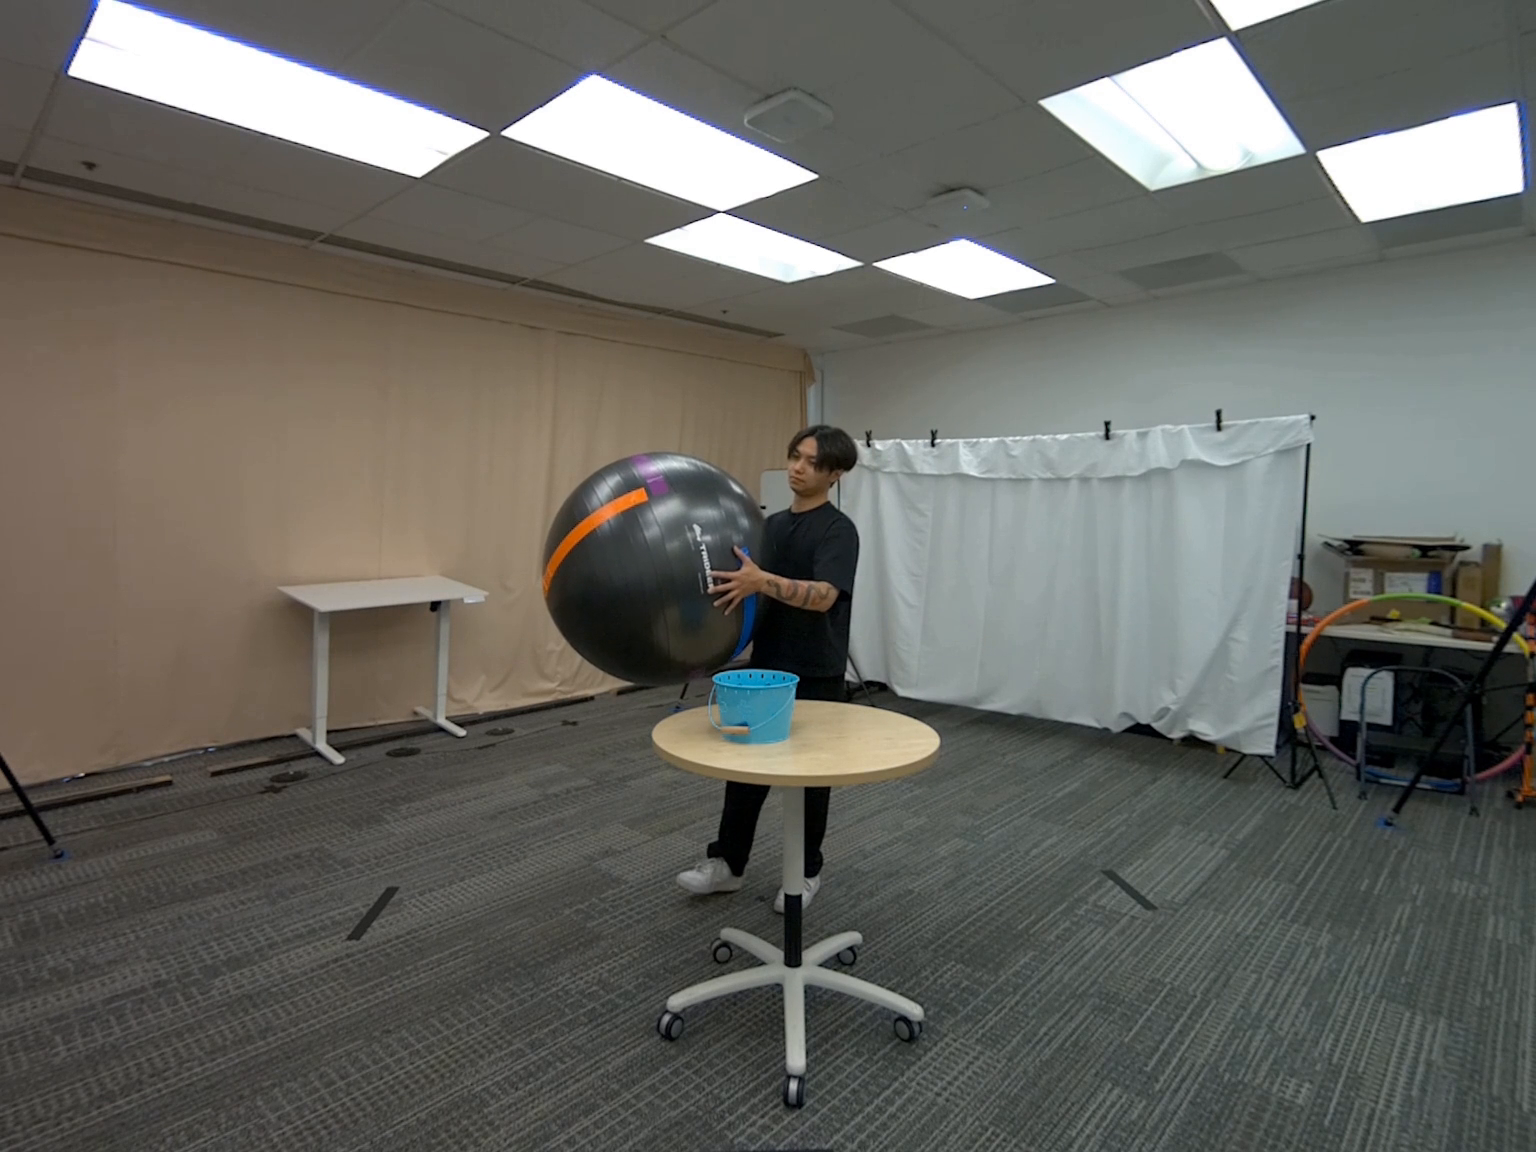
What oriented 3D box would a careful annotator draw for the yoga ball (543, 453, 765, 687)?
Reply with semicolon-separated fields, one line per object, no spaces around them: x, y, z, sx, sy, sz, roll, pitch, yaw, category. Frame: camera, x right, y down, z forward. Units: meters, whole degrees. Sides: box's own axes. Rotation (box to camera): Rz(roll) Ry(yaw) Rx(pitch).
-0.360;-0.019;2.760;0.757;0.756;0.760;0;4;-2;yoga ball
